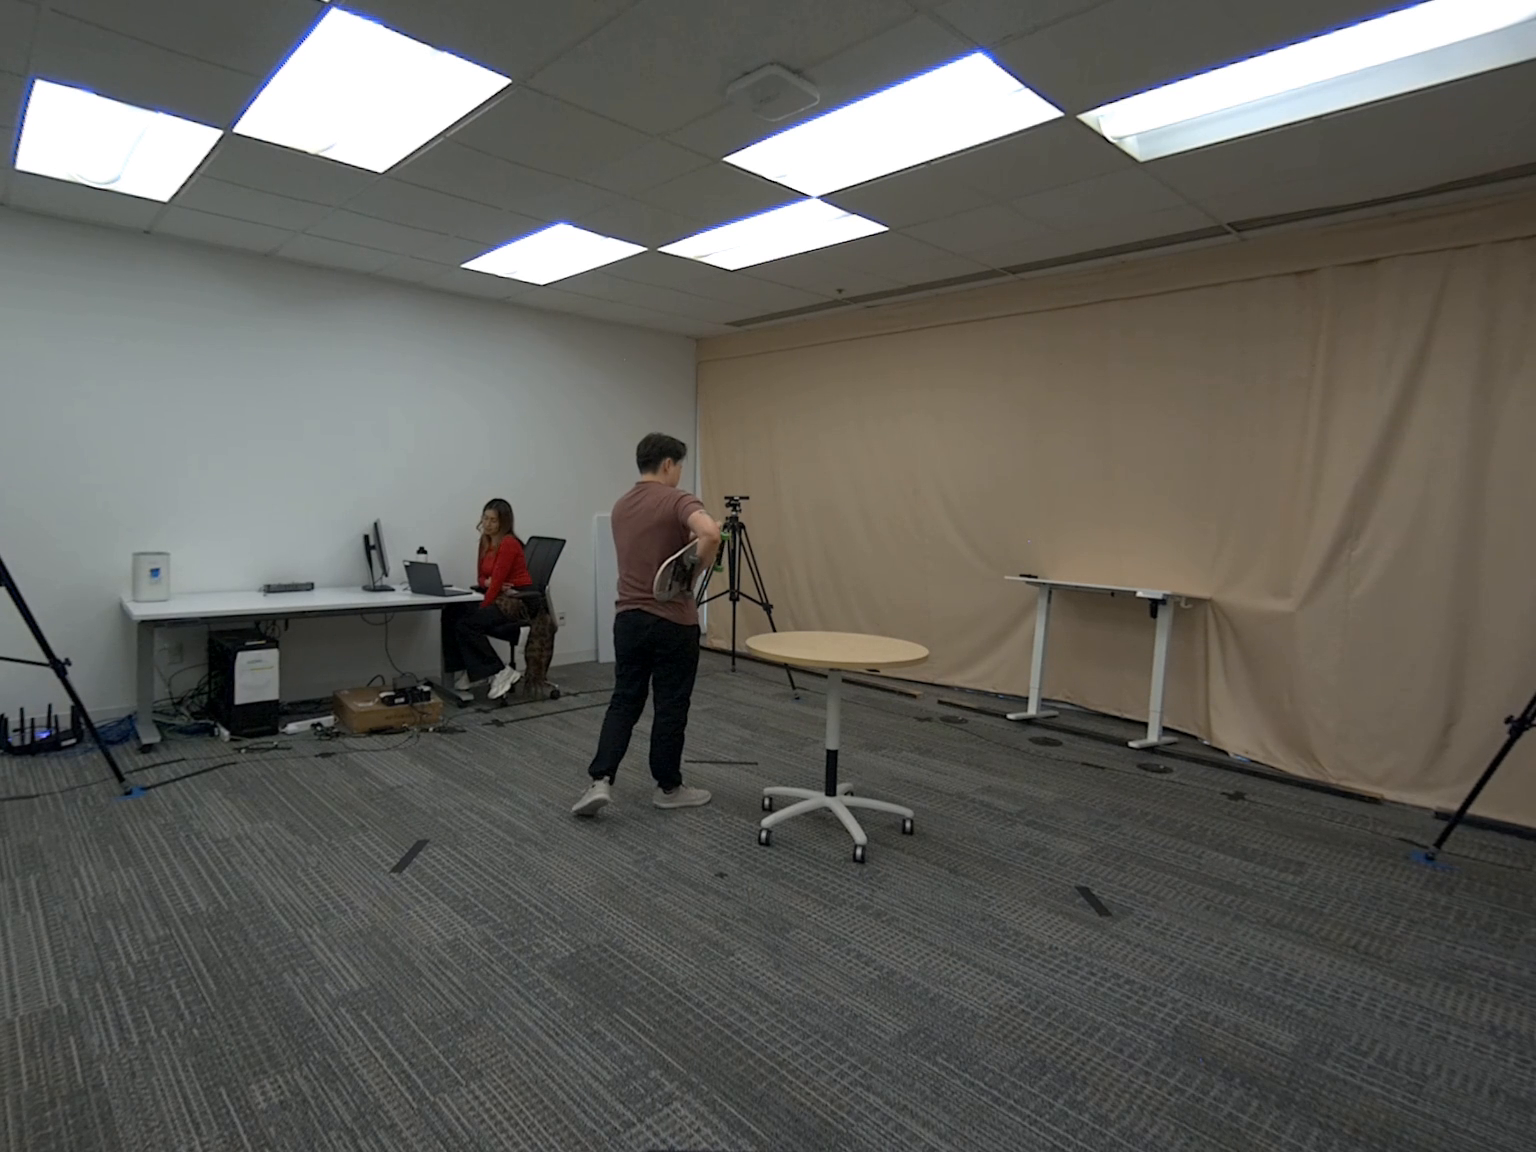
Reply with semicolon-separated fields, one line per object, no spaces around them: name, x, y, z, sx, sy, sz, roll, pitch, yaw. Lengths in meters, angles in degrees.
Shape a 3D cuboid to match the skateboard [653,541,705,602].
skateboard;-0.301;-0.047;3.610;0.112;0.191;0.783;13;21;14
